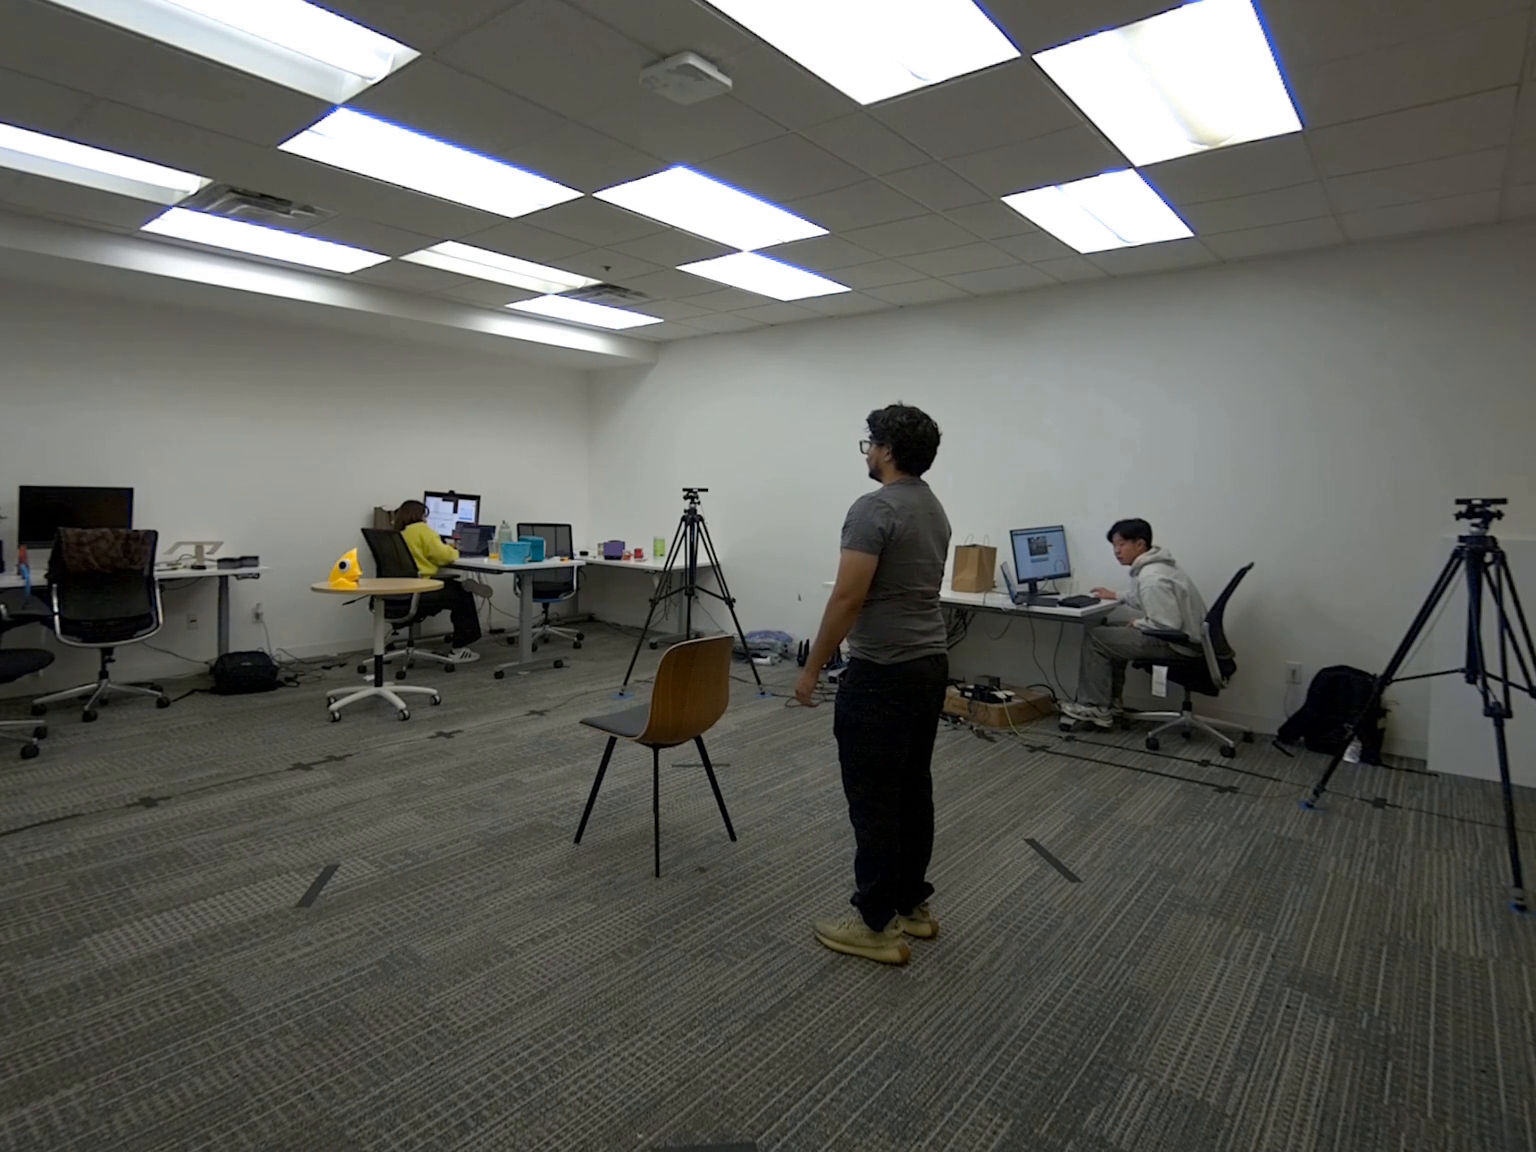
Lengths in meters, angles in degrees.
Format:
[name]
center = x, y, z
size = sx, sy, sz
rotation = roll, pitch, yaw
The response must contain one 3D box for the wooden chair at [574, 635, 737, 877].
[wooden chair]
center = -0.449, 0.619, 3.323
size = 0.542, 0.873, 0.464
rotation = 9, 7, 38
